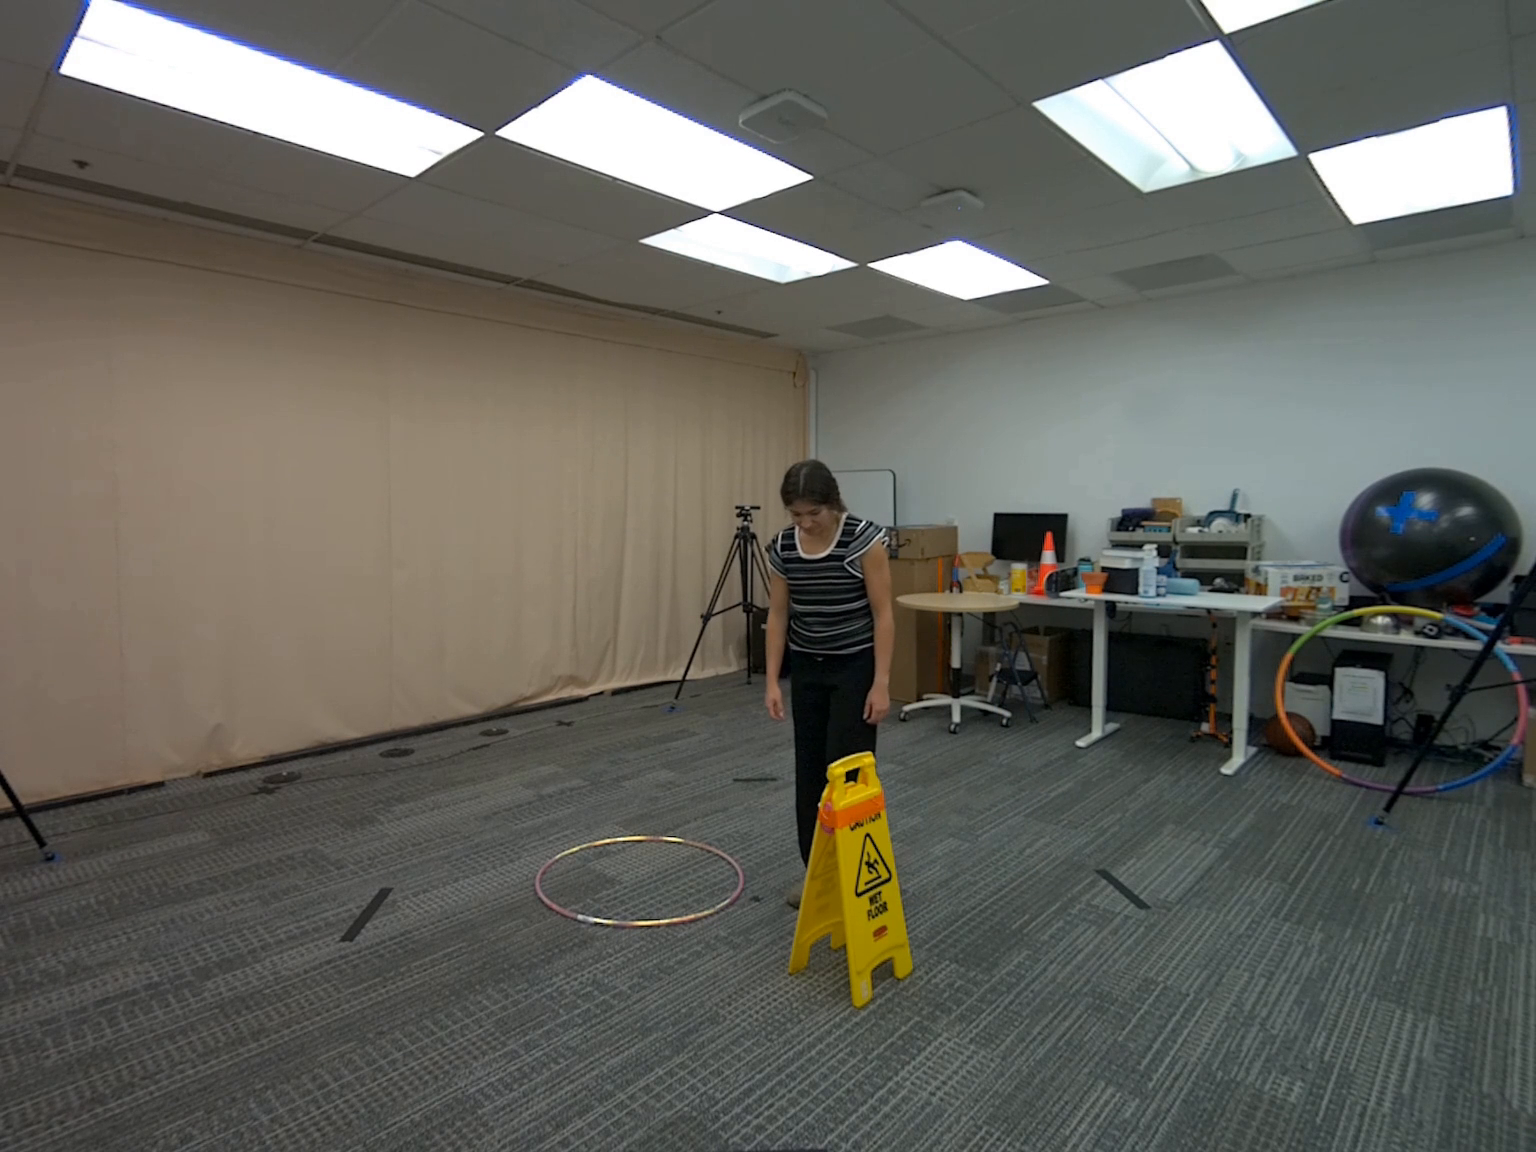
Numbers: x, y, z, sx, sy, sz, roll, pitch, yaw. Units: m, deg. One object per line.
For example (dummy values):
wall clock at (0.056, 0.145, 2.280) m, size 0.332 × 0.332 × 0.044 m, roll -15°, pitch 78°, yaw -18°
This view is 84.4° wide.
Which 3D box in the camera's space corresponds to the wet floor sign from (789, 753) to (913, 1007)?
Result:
wet floor sign at (0.242, 0.856, 2.499) m, size 0.299 × 0.645 × 0.273 m, roll 2°, pitch 3°, yaw 44°
